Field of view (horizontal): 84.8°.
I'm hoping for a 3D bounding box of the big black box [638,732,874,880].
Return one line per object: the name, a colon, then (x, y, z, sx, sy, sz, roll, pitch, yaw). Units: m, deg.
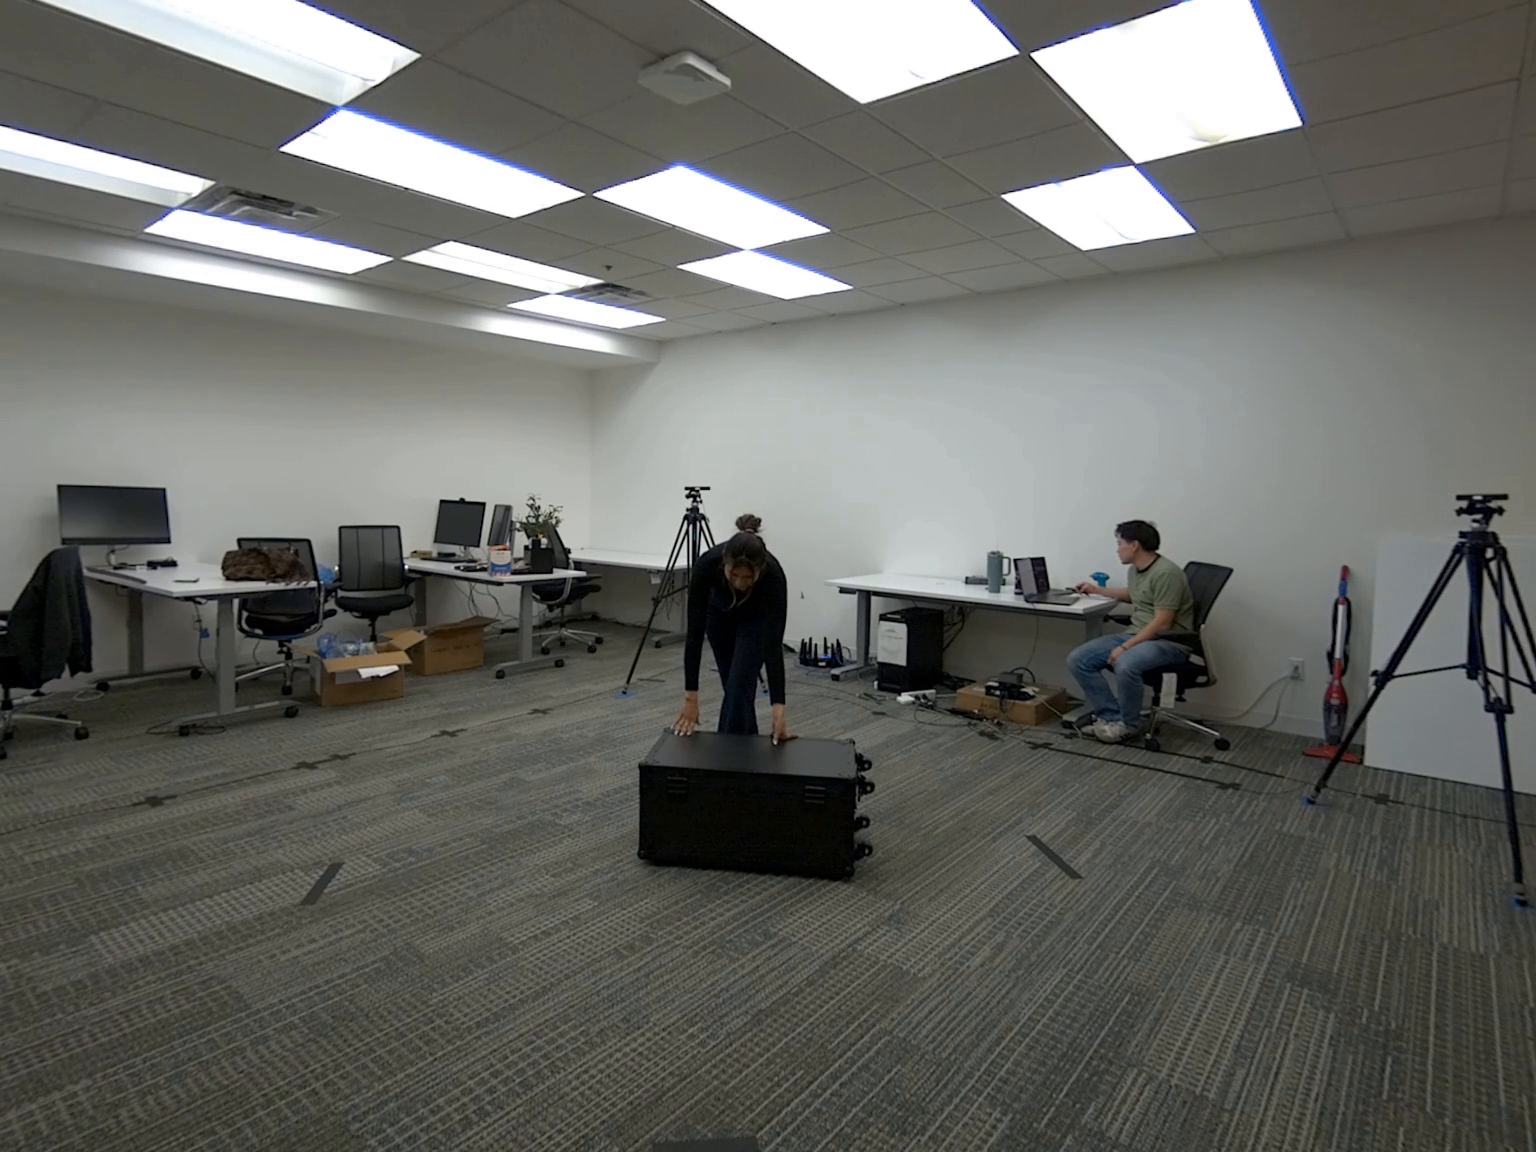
big black box: (-0.040, 0.857, 3.276, 0.869, 0.395, 0.518, 1, 4, 8)
